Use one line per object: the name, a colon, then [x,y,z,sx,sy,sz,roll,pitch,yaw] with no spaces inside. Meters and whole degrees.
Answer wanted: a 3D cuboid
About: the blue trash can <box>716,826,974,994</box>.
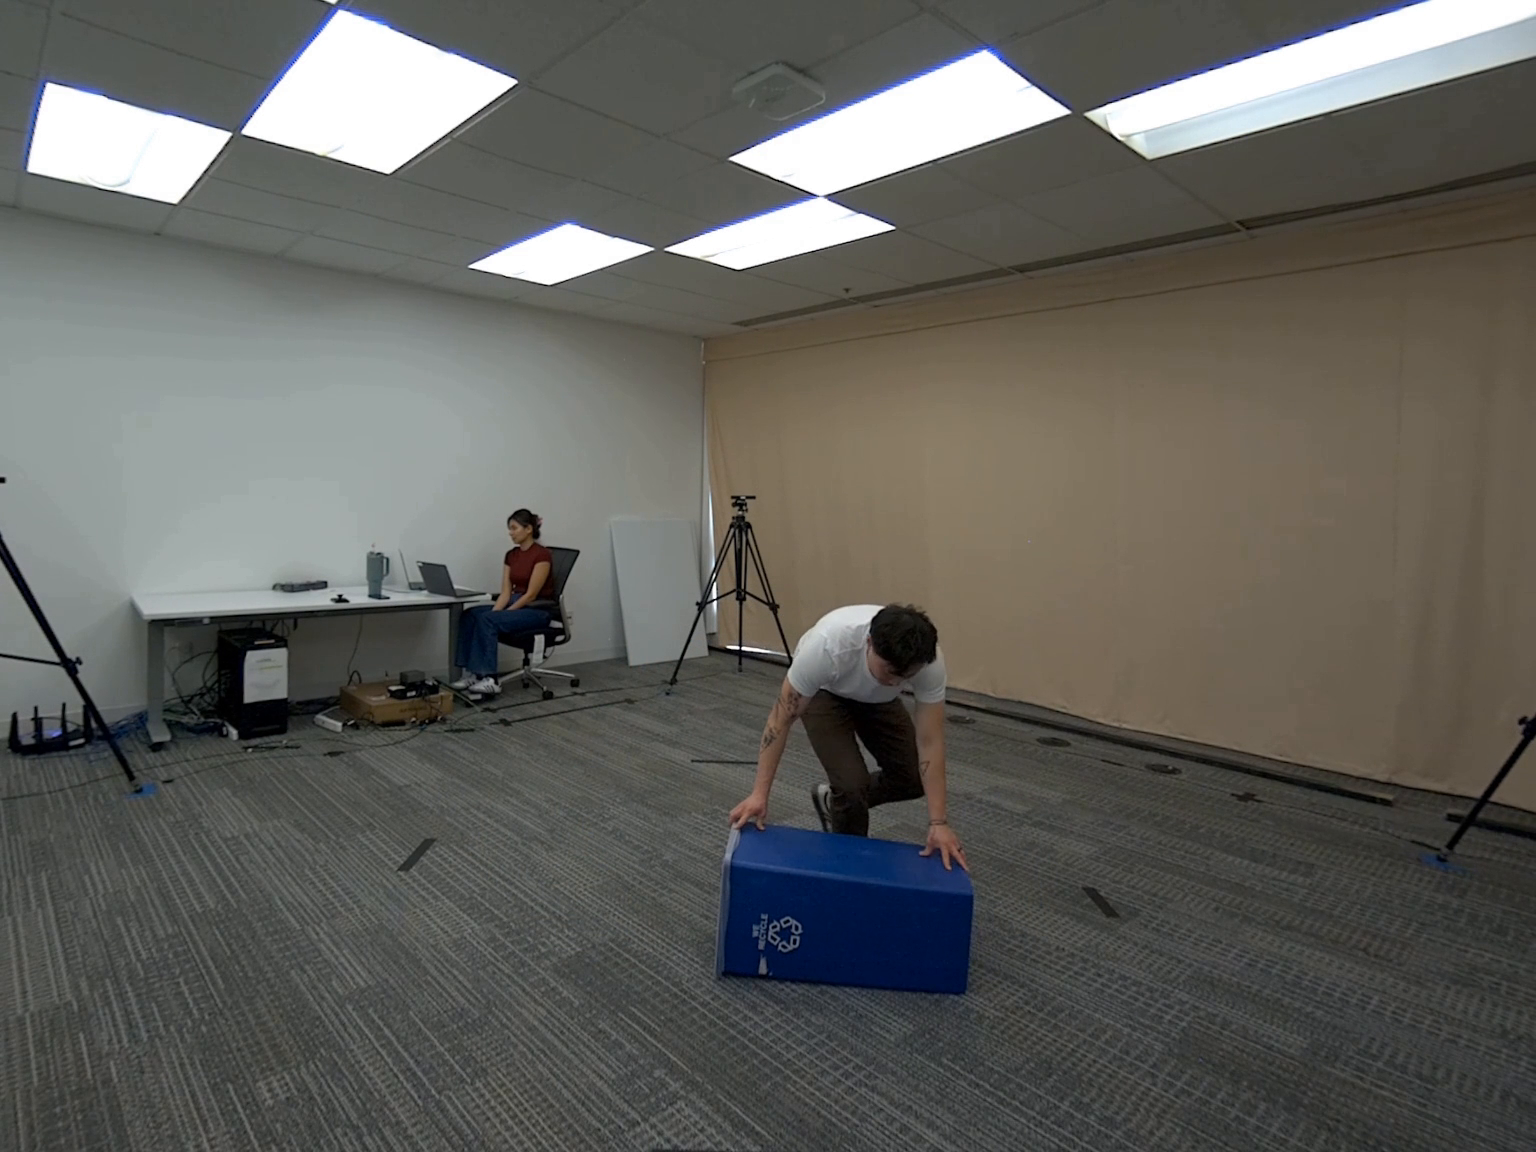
blue trash can: [0.219,0.992,2.538,0.717,0.377,0.373,4,3,5]
